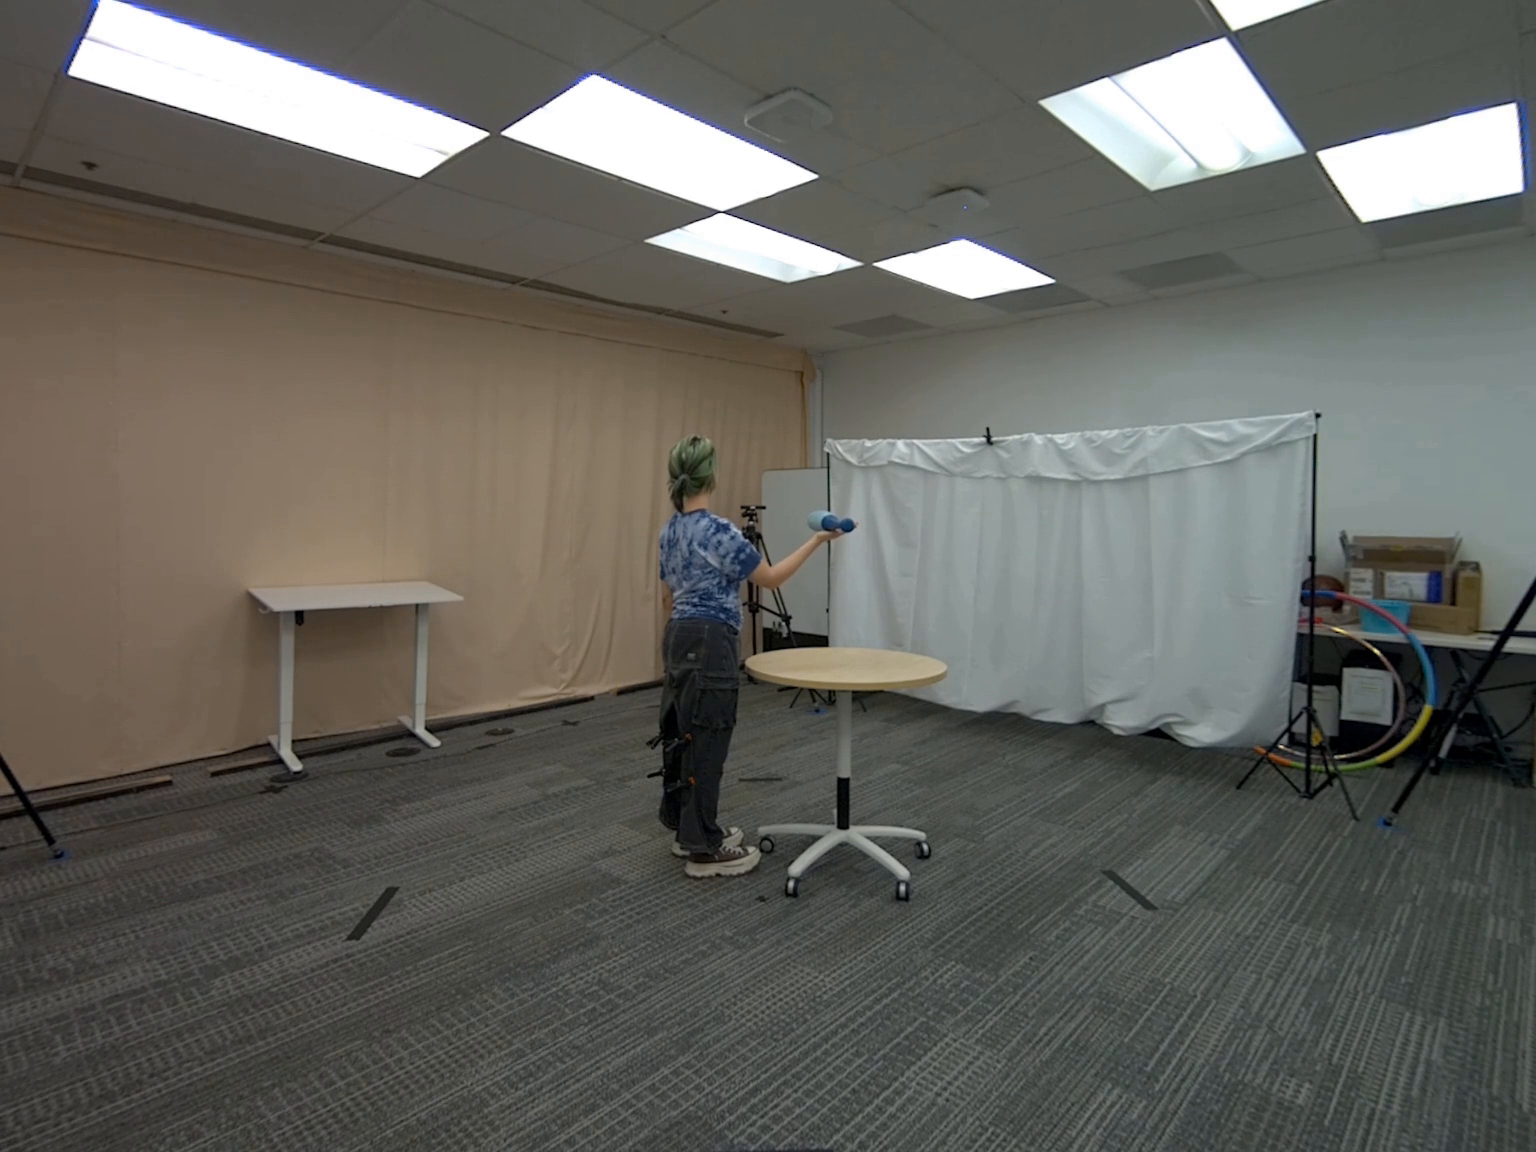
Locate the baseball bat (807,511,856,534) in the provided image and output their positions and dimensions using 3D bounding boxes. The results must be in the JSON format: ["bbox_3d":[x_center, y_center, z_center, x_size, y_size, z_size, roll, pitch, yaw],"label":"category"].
[{"bbox_3d":[0.244,-0.197,3.179,0.088,0.089,0.549,-1,5,-9],"label":"baseball bat"}]
